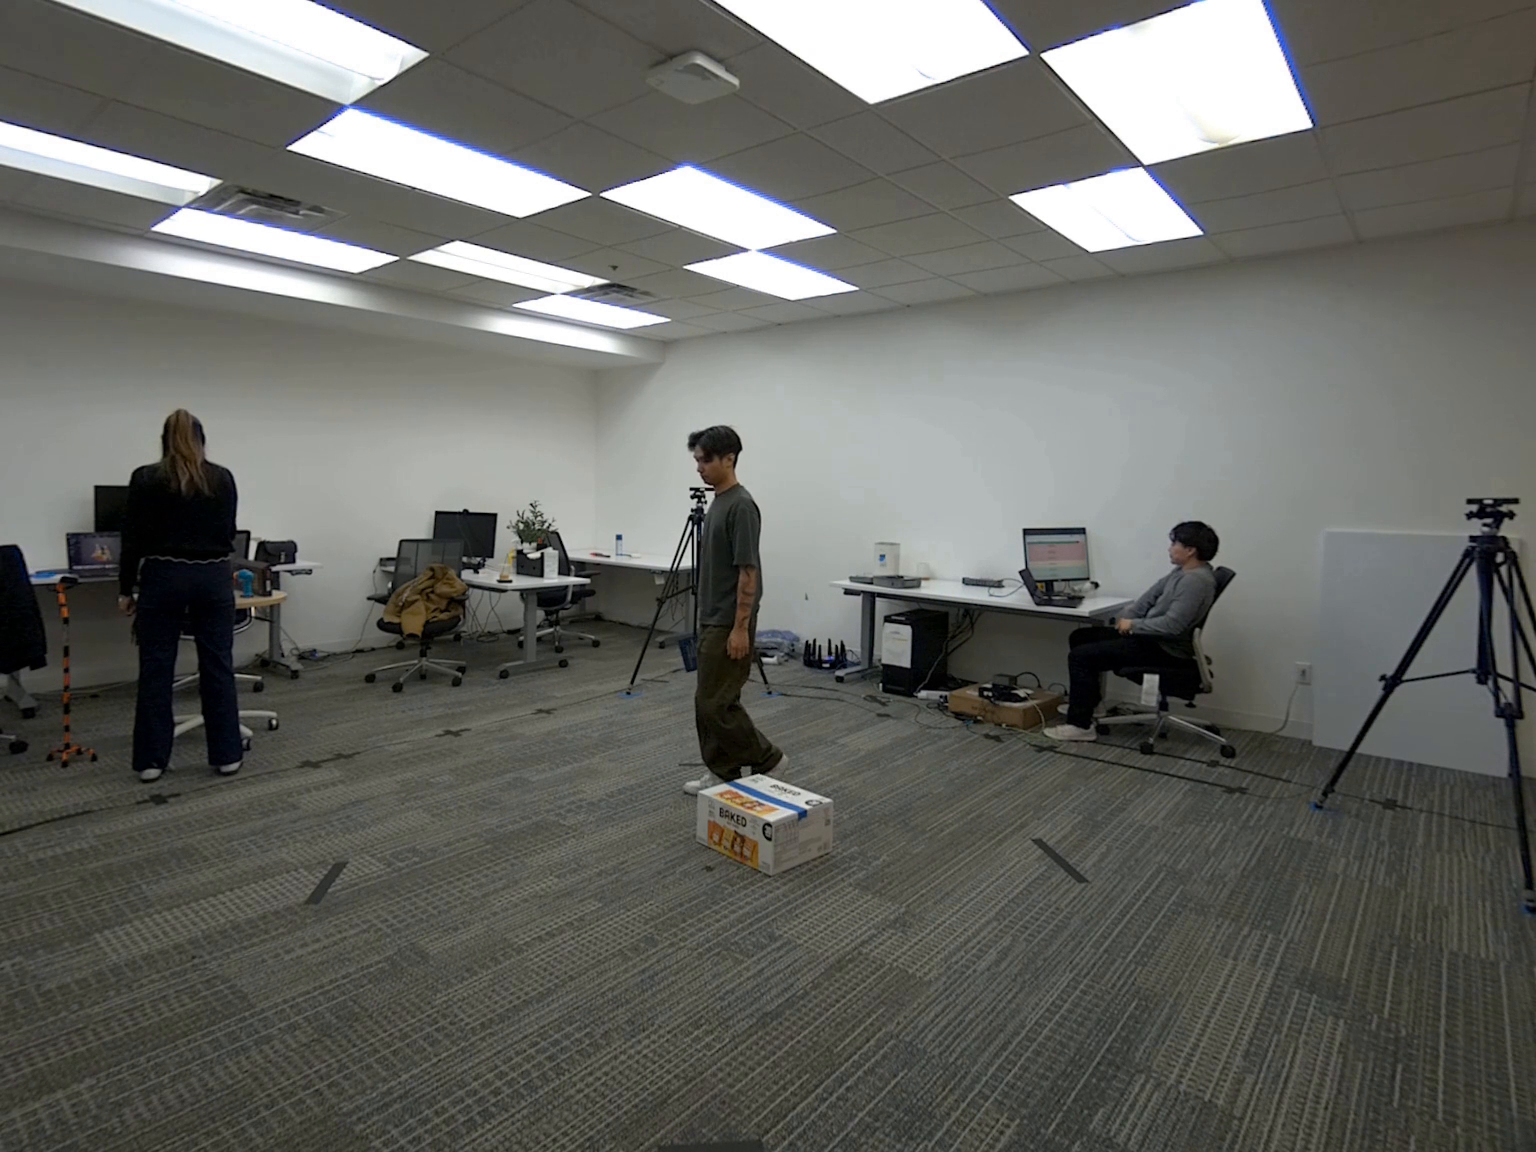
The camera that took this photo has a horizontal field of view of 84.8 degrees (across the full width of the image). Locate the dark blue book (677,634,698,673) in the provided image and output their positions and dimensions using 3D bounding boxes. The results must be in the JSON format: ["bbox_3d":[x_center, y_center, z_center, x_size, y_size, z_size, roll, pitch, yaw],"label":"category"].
[{"bbox_3d":[-0.310,0.349,4.096,0.246,0.165,0.044,-16,-7,8],"label":"dark blue book"}]
